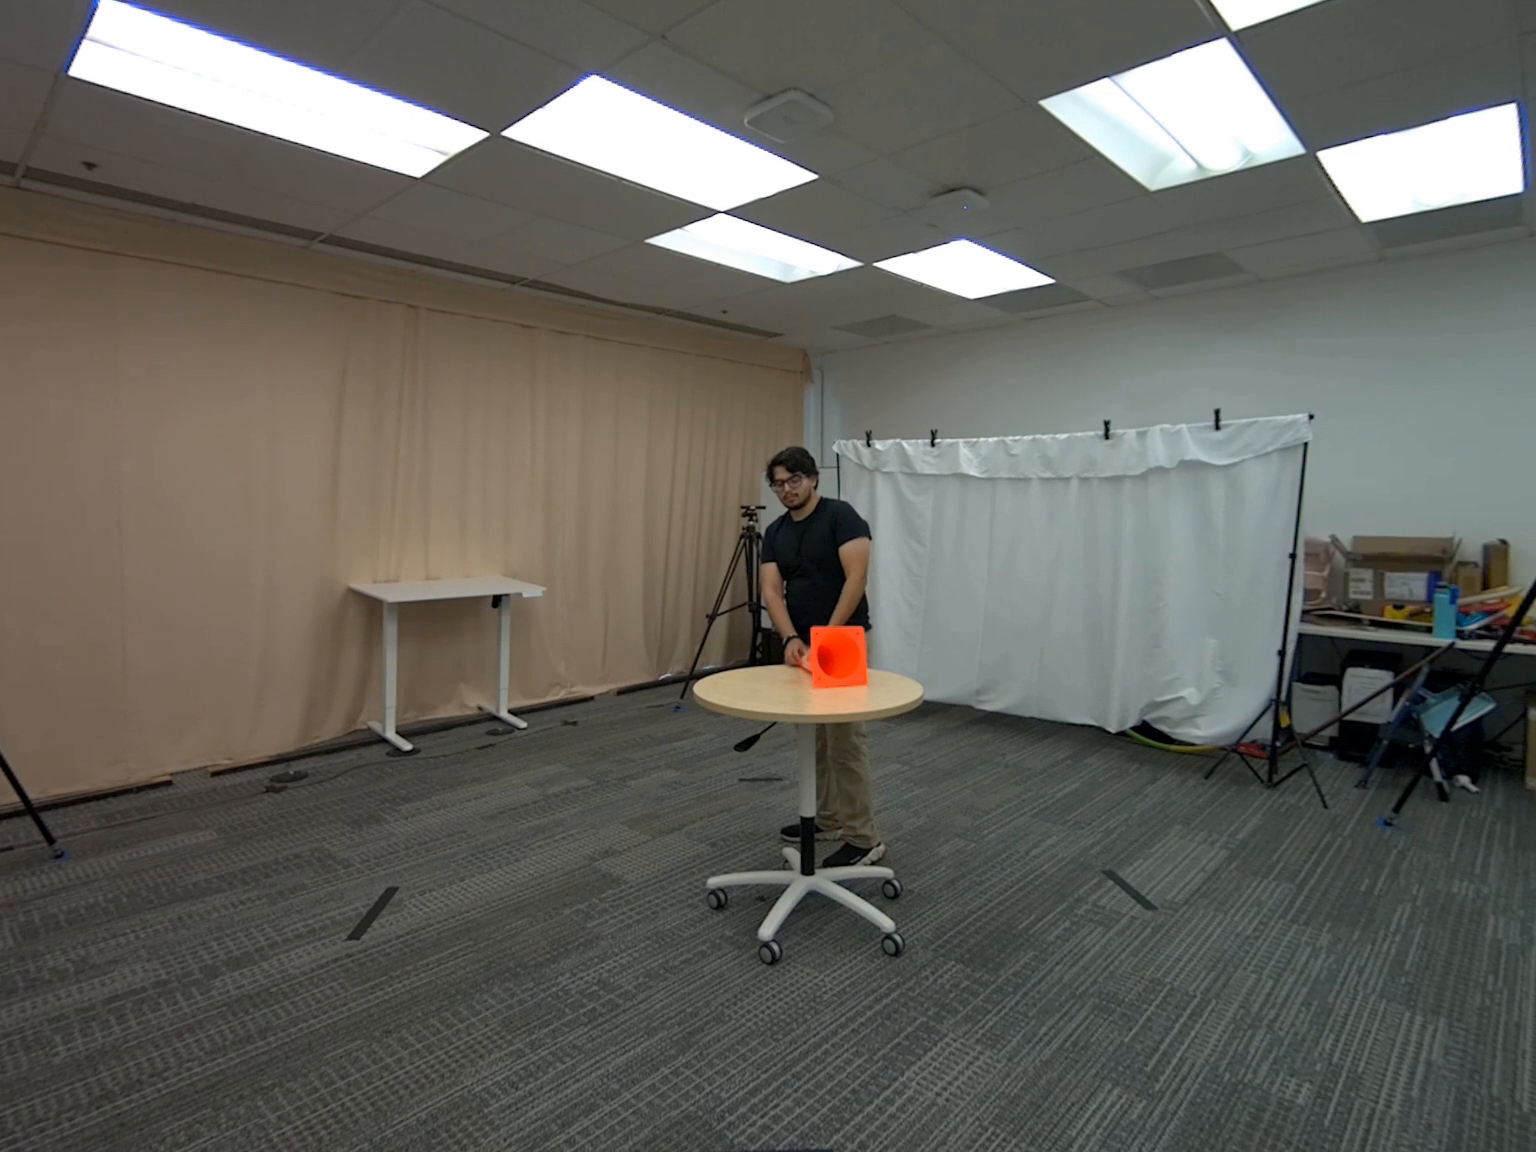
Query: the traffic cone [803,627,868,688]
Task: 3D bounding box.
[{"bbox_3d":[0.190,0.294,3.017,0.202,0.206,0.384,8,-7,-5],"label":"traffic cone"}]
